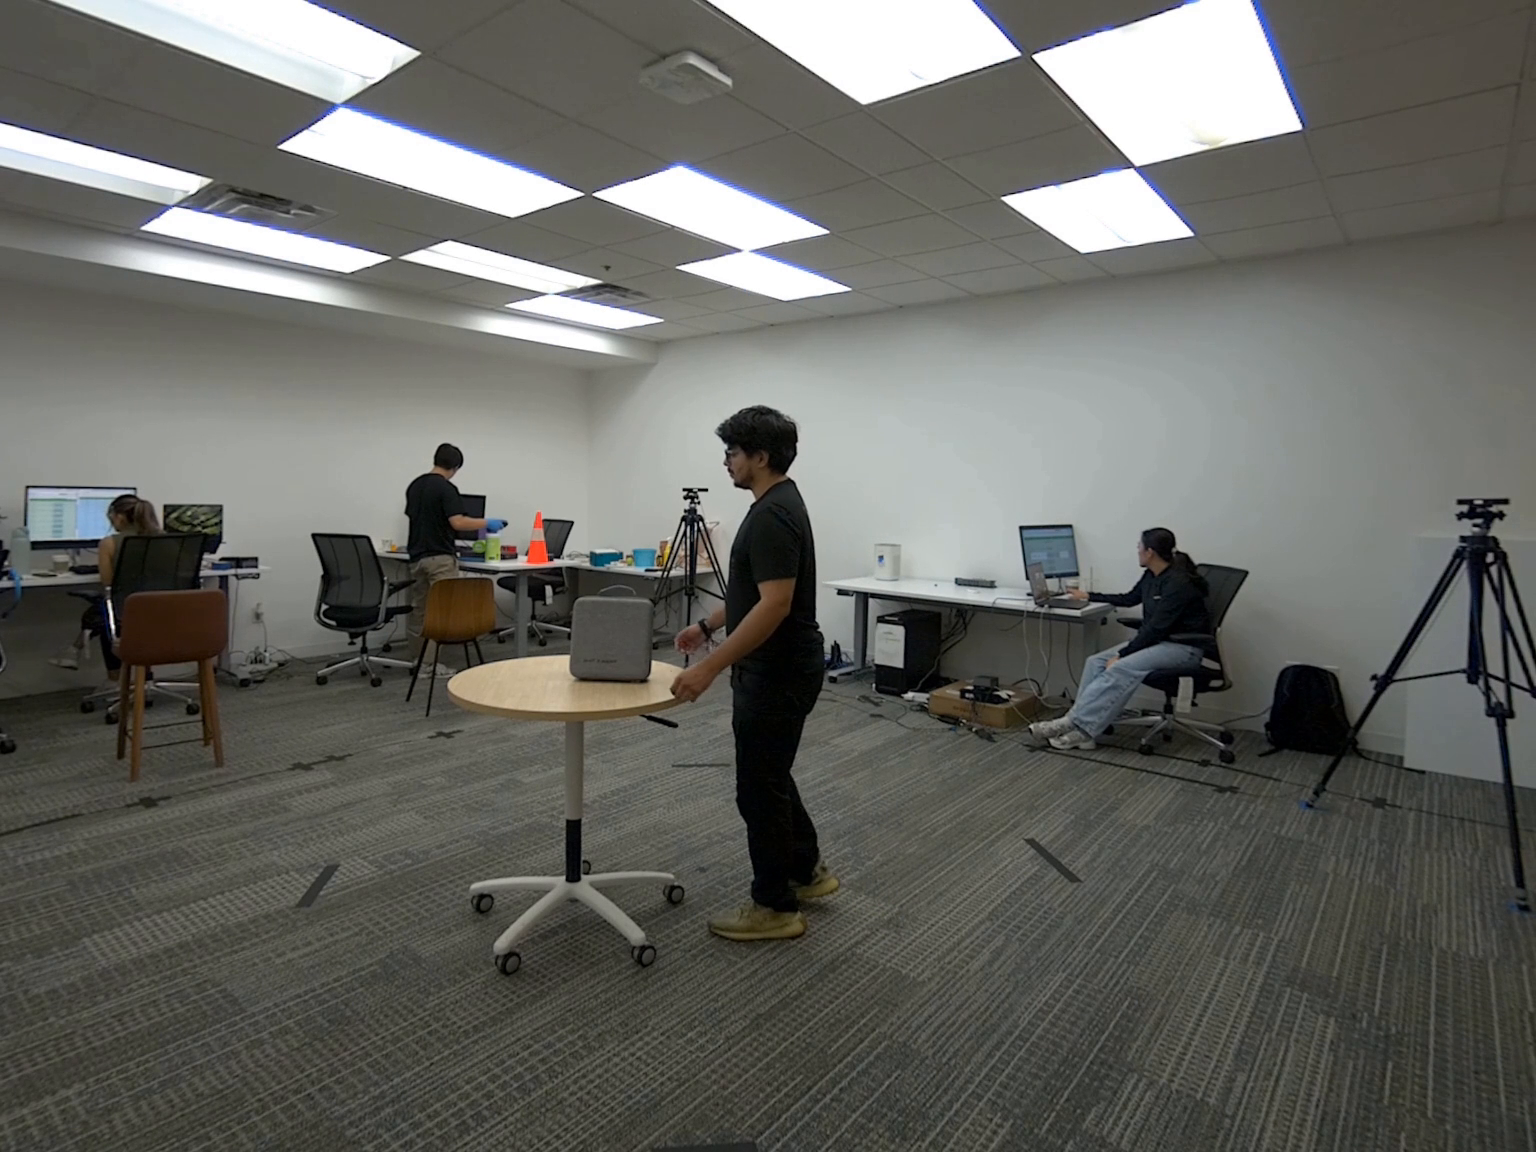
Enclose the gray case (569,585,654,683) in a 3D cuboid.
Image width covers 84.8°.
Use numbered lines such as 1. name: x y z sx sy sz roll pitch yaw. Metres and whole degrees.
1. gray case: -0.504 0.194 2.695 0.258 0.262 0.103 2 -8 2
